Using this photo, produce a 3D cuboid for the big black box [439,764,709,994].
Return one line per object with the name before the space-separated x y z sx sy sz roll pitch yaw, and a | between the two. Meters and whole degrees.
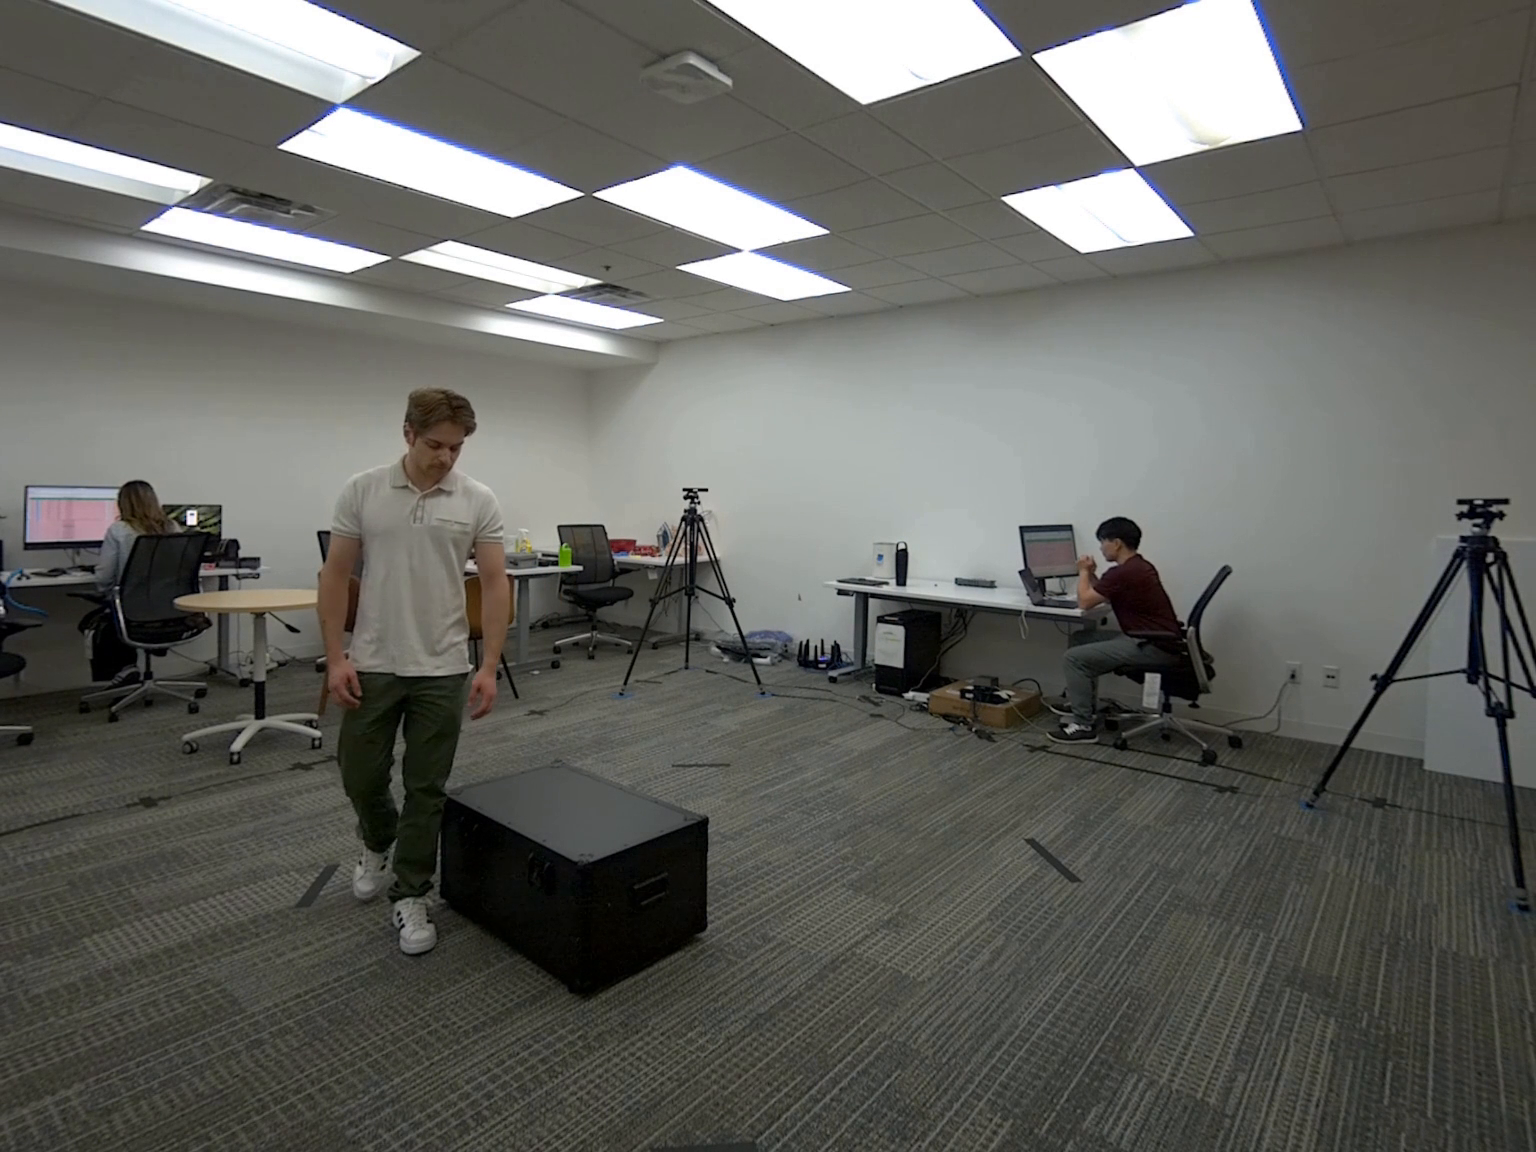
big black box | -0.666 0.907 2.739 0.891 0.395 0.506 6 7 42
